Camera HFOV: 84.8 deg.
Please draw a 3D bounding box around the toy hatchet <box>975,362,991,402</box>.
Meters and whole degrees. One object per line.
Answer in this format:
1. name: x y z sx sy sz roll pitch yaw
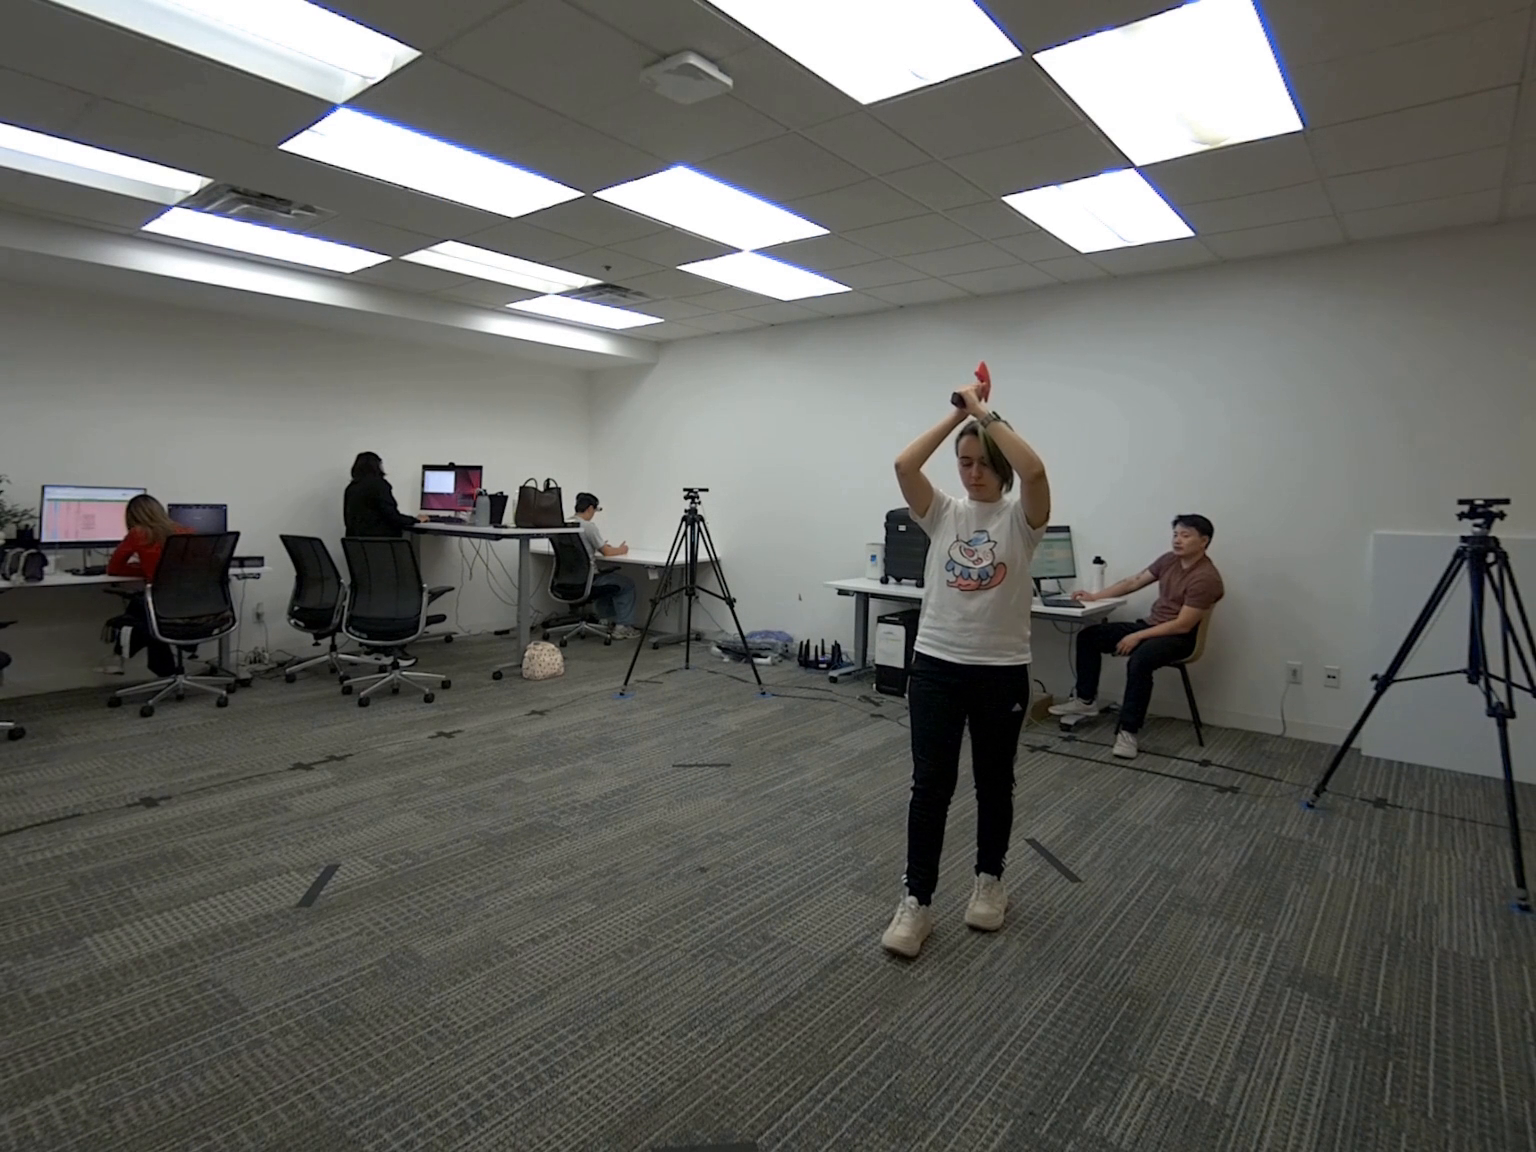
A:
1. toy hatchet: 0.613 -0.596 2.595 0.030 0.130 0.264 8 14 33
